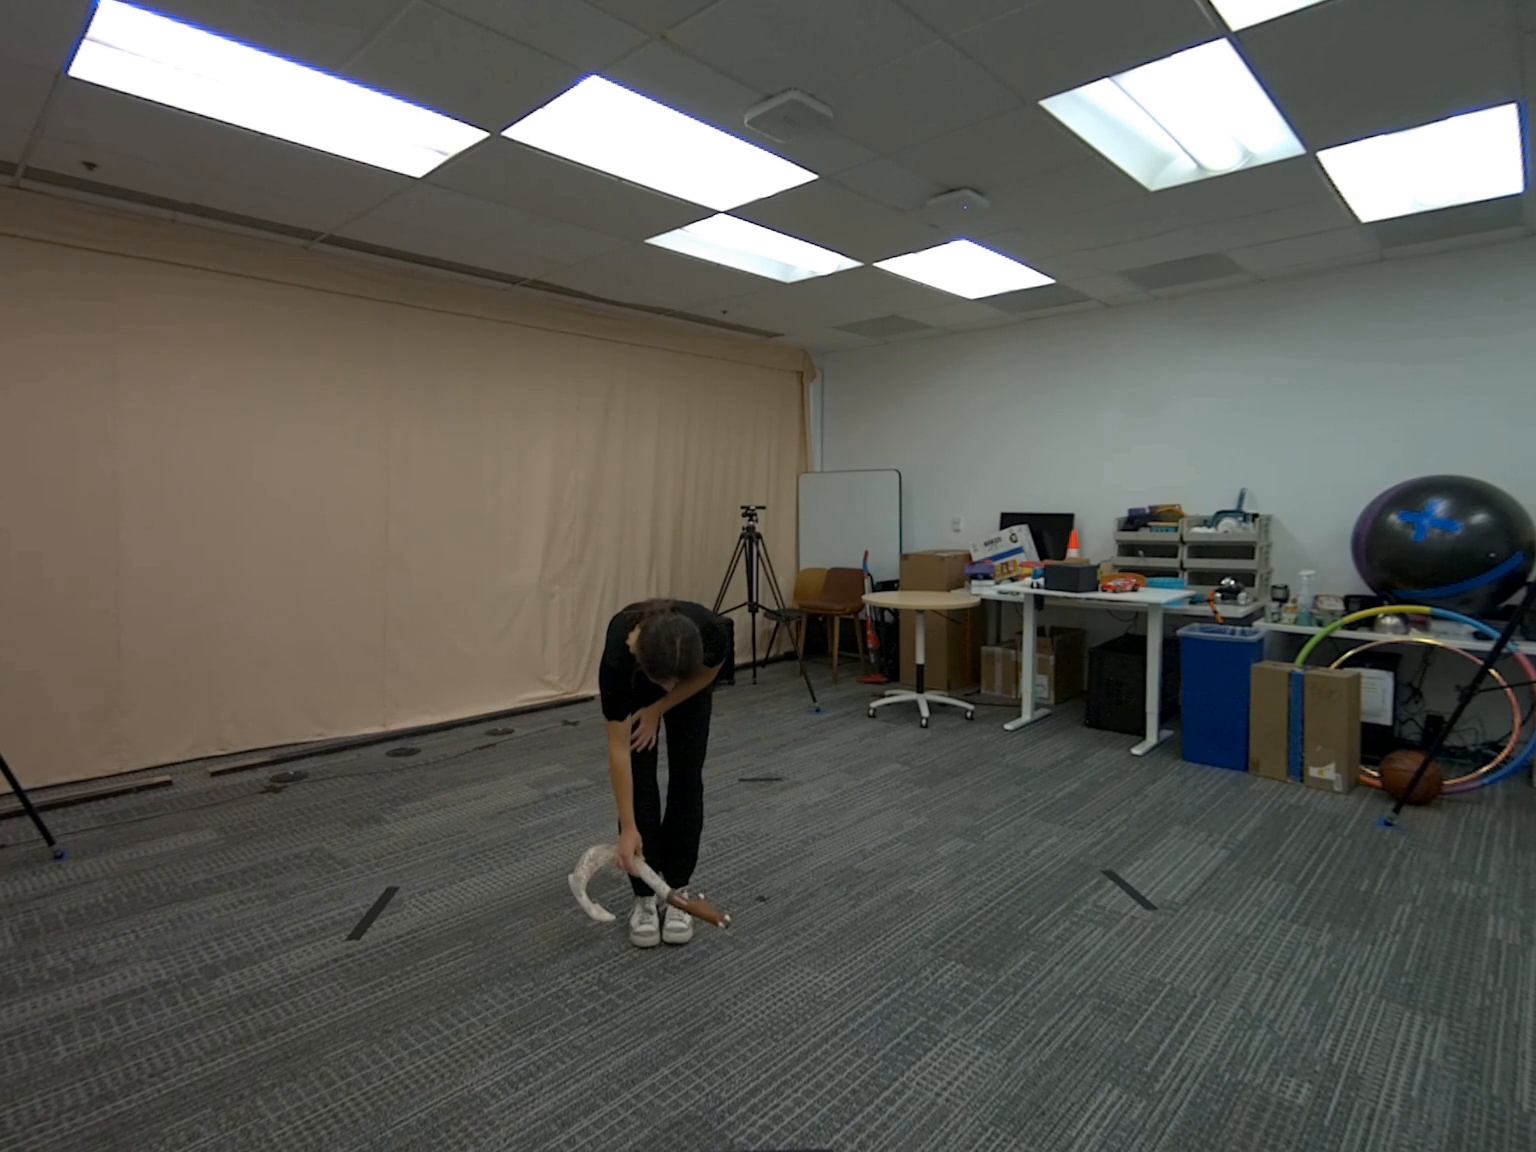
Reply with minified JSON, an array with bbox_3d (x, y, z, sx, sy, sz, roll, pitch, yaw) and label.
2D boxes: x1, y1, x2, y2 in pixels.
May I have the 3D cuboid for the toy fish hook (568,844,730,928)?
[{"bbox_3d":[-0.357,0.975,2.509,0.519,0.224,0.047,19,-35,20],"label":"toy fish hook"}]
